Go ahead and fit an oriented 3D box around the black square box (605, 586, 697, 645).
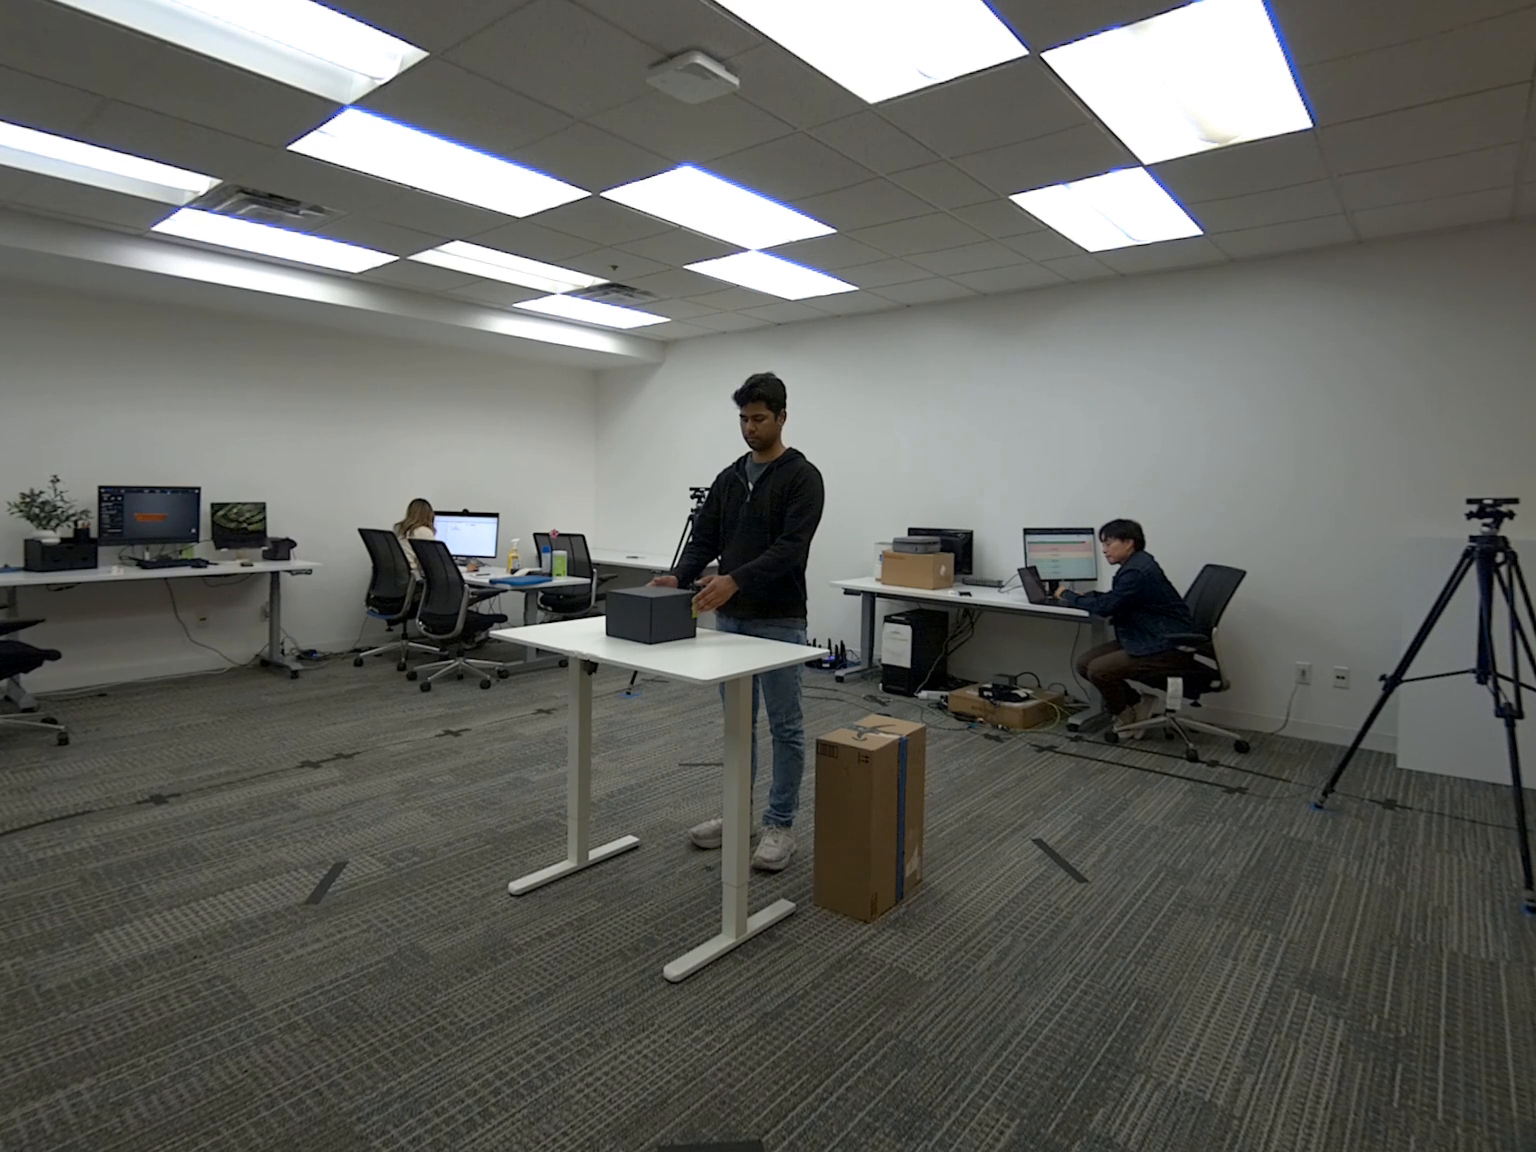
[{"bbox_3d":[-0.404,0.125,2.872,0.236,0.155,0.210,5,6,40],"label":"black square box"}]
